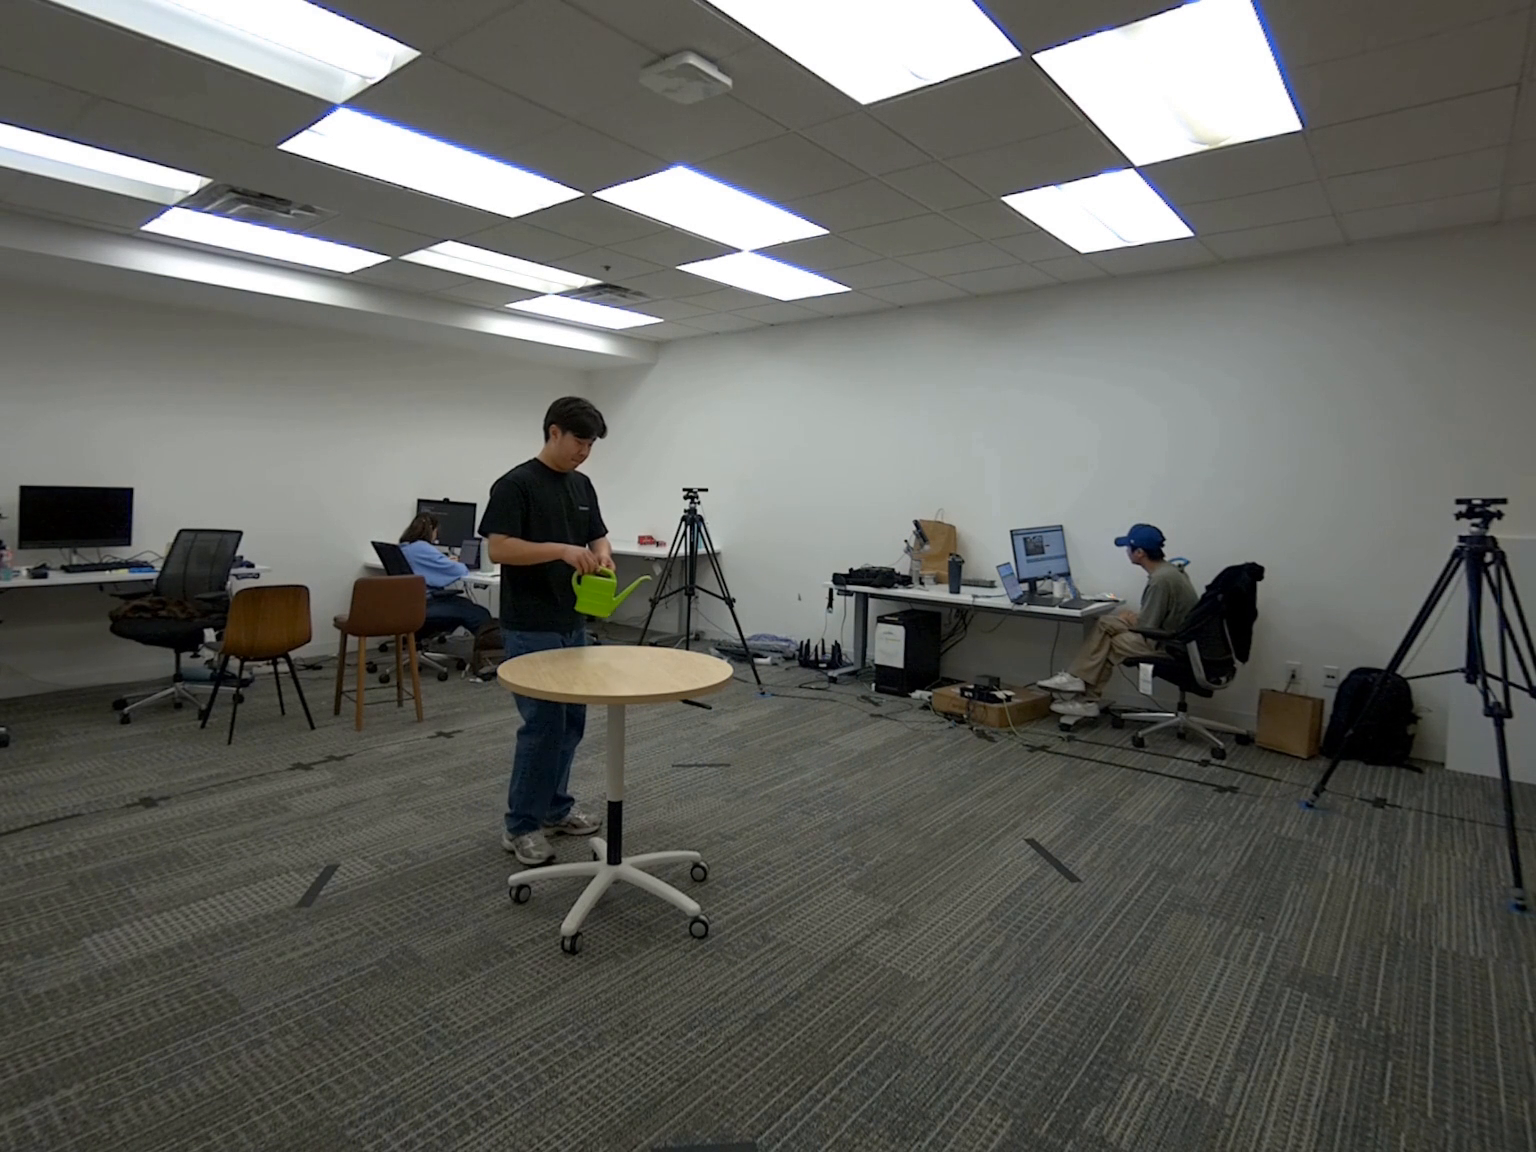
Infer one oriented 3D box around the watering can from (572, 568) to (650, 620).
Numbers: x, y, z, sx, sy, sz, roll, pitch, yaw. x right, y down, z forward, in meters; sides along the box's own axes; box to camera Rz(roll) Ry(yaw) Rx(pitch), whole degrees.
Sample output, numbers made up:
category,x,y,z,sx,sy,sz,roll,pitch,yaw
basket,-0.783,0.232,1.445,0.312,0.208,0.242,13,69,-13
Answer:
category,x,y,z,sx,sy,sz,roll,pitch,yaw
watering can,-0.601,0.062,3.095,0.278,0.177,0.098,10,0,1
